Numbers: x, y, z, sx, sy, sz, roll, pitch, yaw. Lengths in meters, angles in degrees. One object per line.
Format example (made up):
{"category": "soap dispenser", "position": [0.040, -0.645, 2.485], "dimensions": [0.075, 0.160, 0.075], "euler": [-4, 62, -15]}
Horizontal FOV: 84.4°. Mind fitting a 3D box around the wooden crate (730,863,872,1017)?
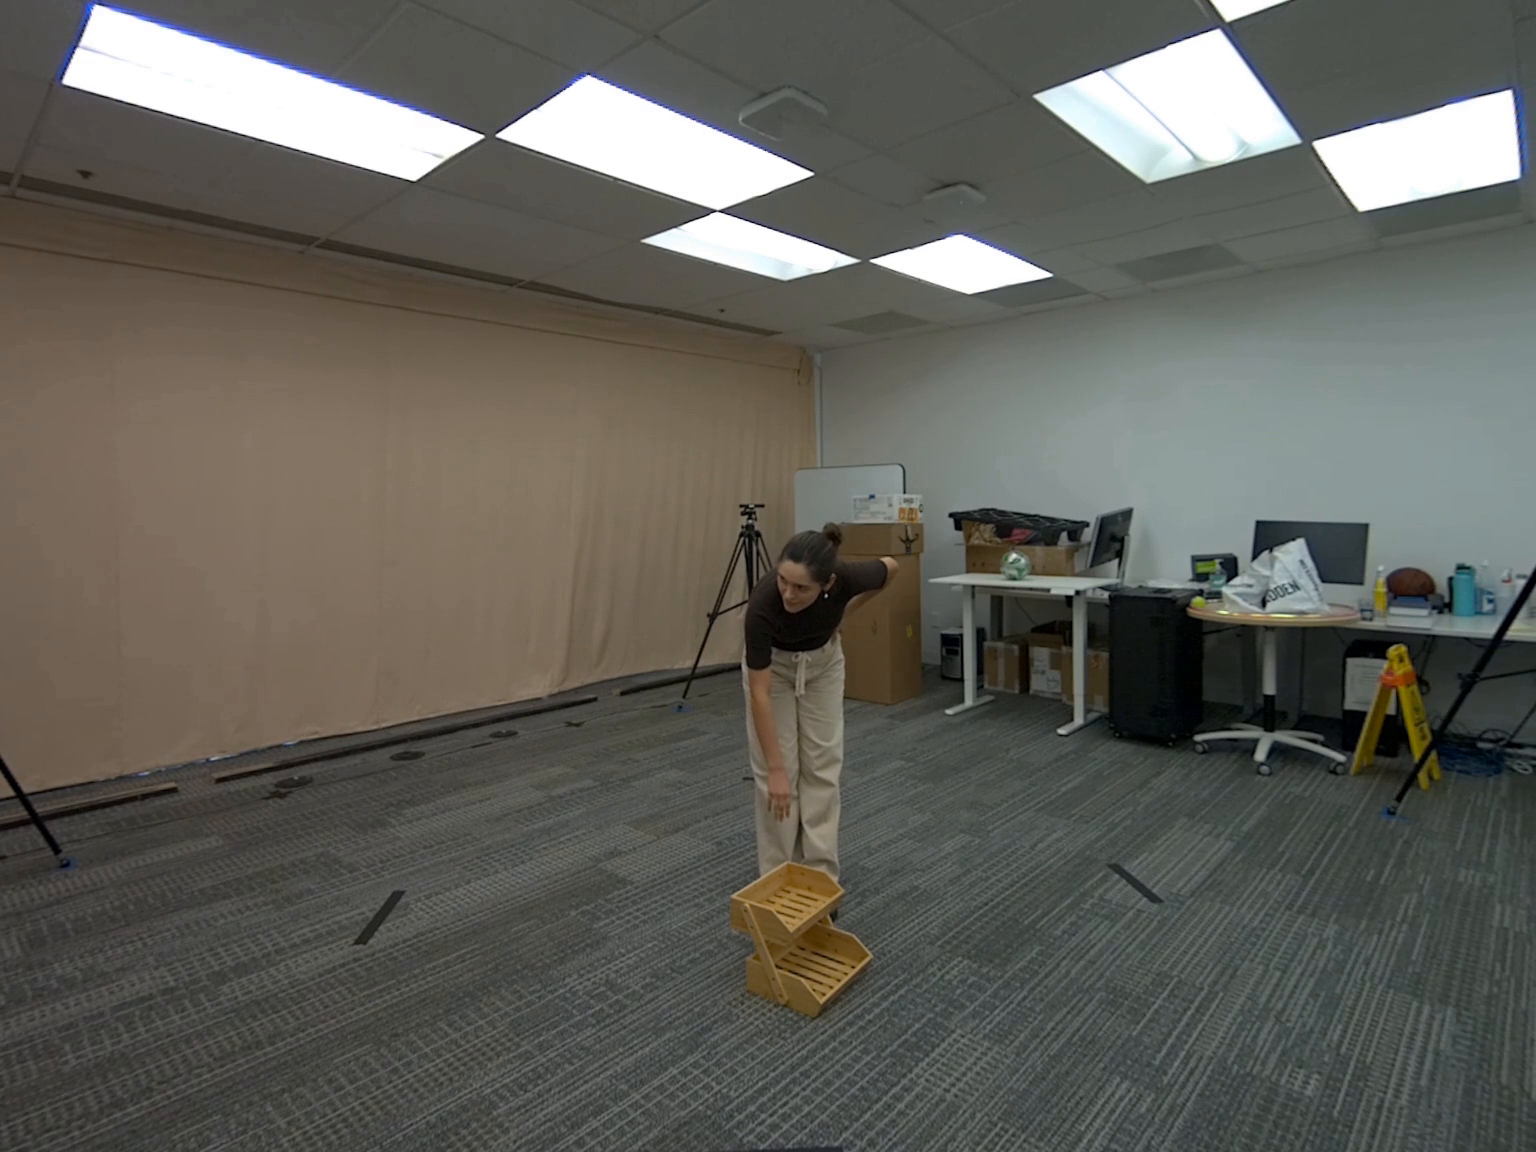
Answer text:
{"category": "wooden crate", "position": [0.105, 1.042, 2.472], "dimensions": [0.311, 0.273, 0.315], "euler": [1, 4, 36]}
